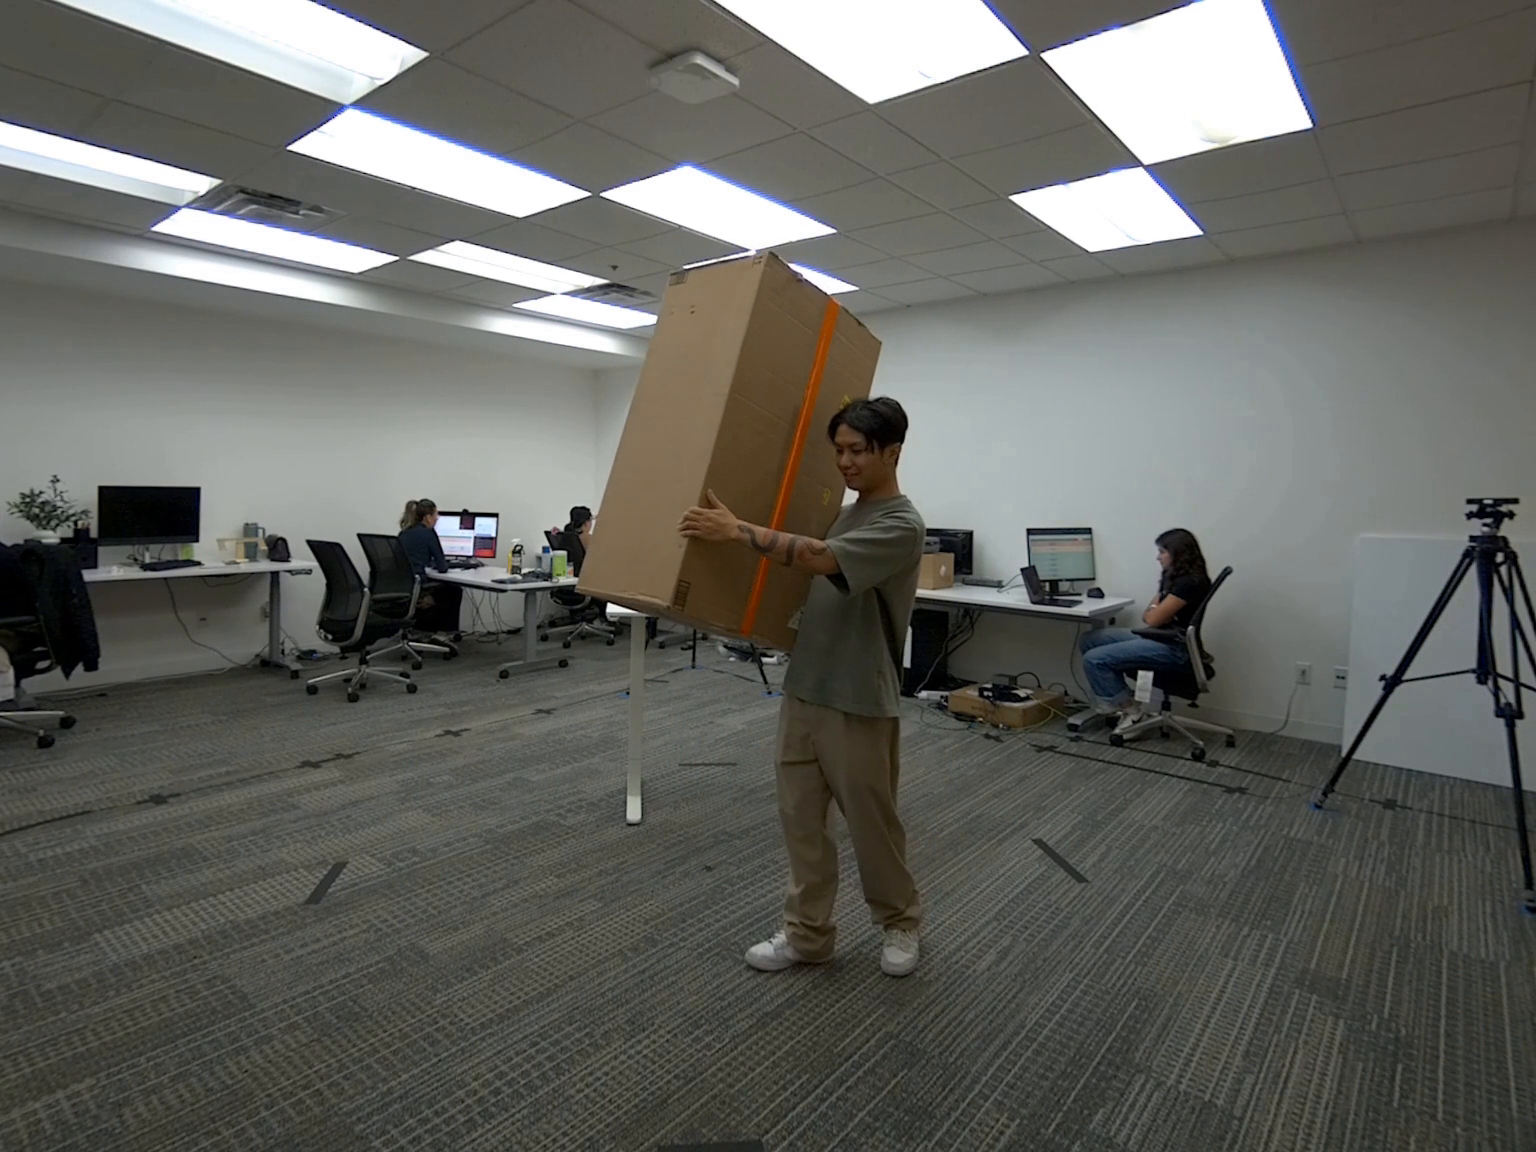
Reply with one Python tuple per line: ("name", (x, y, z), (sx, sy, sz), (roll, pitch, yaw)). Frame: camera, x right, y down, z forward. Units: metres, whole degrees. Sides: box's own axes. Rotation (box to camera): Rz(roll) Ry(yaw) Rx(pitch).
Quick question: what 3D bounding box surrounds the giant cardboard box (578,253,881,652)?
("giant cardboard box", (-0.104, -0.343, 2.568), (0.441, 1.032, 0.554), (6, -12, 44))
